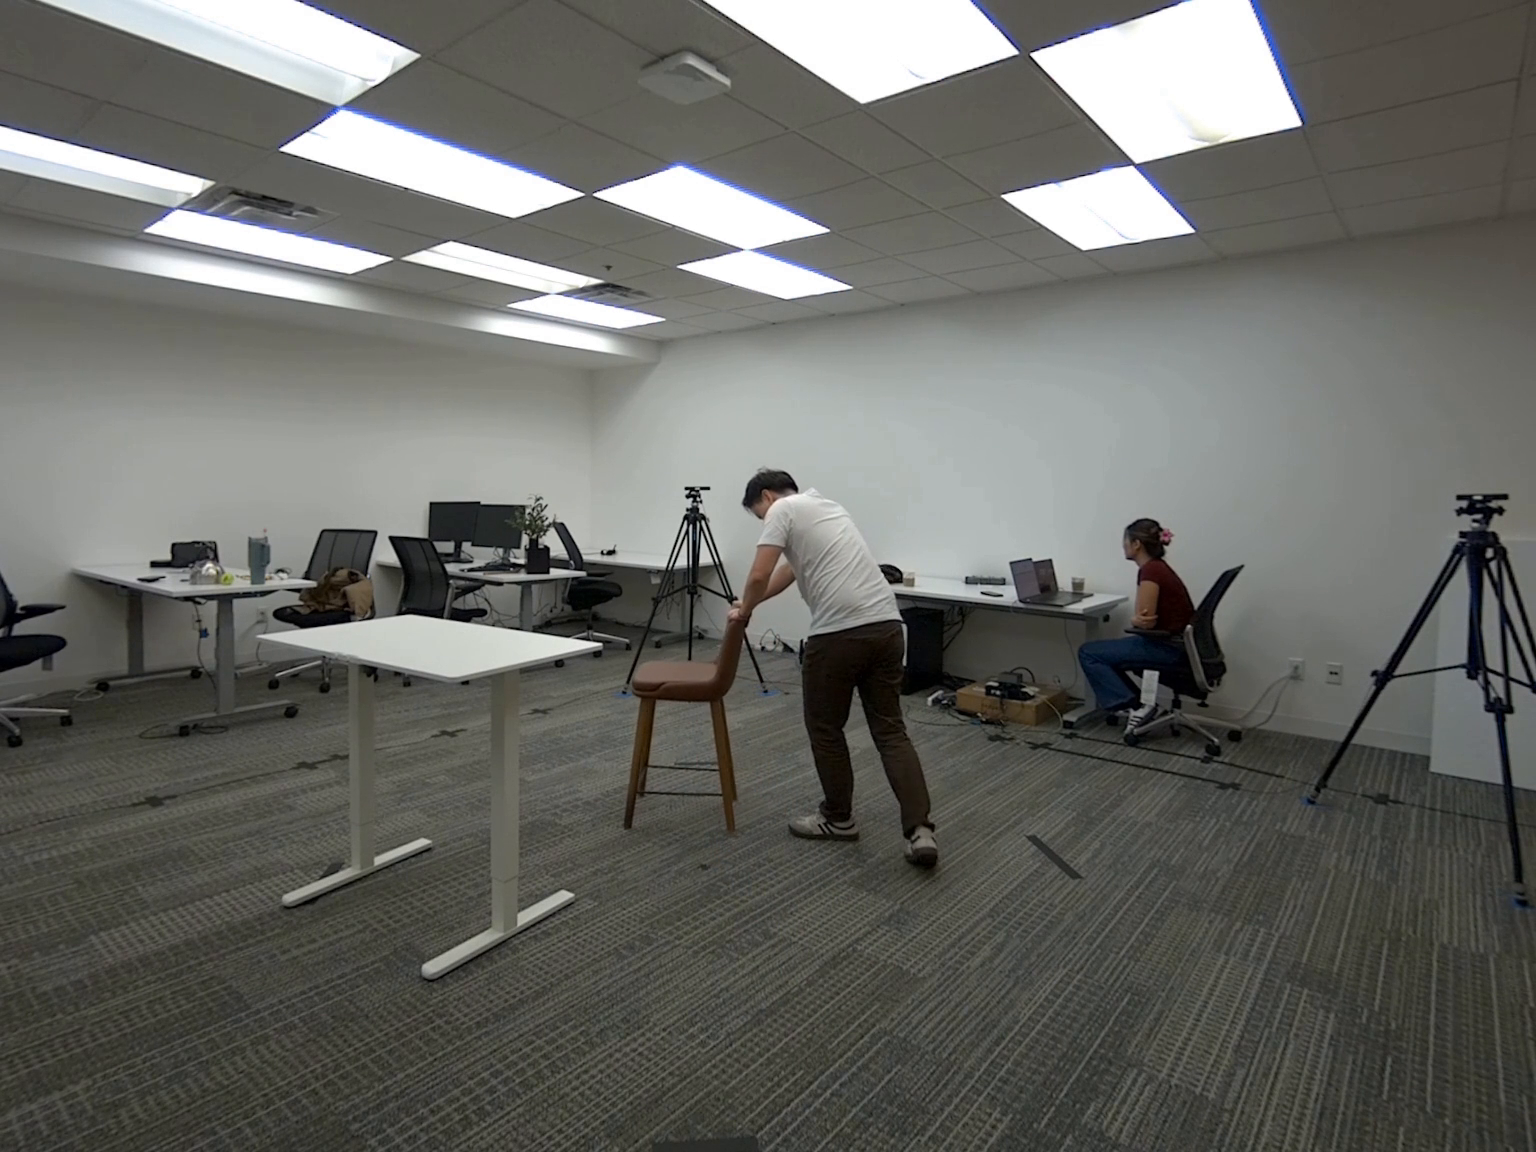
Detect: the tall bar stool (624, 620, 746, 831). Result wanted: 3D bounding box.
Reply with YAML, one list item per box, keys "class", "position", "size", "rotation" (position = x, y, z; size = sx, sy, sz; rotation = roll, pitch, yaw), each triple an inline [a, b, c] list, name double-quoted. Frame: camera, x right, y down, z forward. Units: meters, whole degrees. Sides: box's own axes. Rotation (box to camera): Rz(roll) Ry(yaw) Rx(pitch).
- class: "tall bar stool"
  position: [-0.360, 0.579, 3.626]
  size: [0.469, 0.888, 0.457]
  rotation: [3, 3, 1]
